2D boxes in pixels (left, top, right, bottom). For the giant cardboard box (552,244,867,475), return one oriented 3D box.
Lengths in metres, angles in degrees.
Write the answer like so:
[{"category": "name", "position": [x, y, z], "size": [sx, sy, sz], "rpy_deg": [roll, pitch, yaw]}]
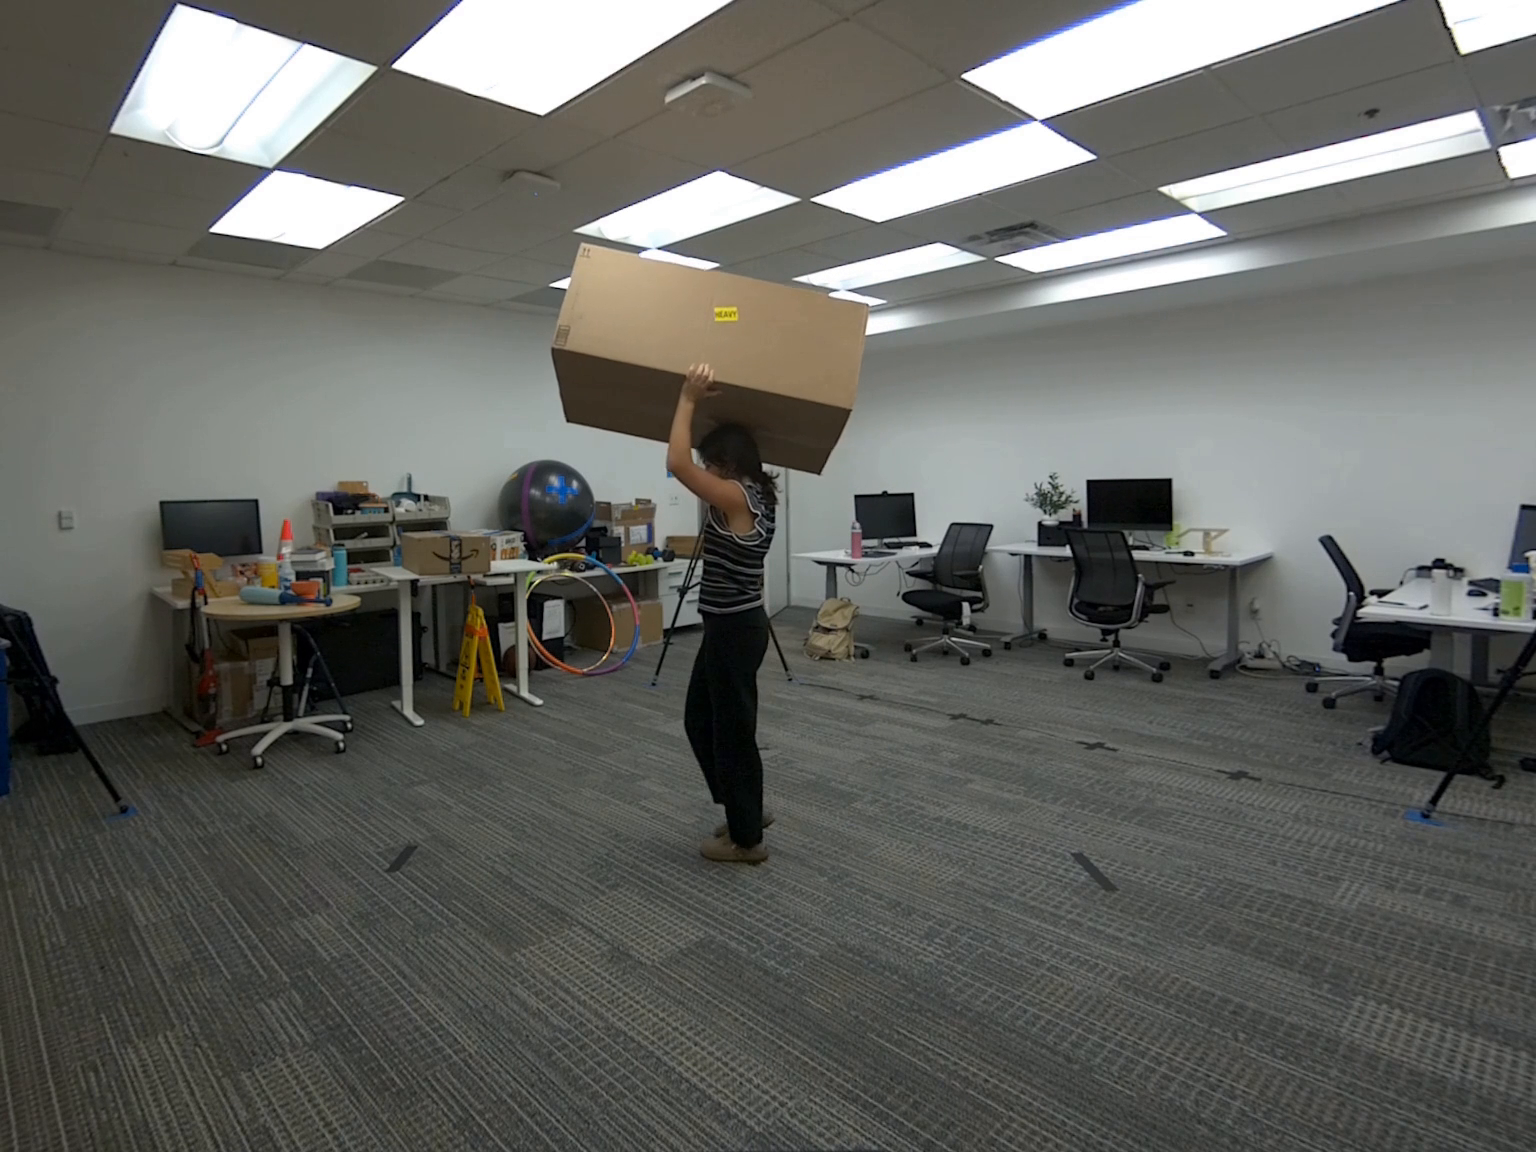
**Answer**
[{"category": "giant cardboard box", "position": [-0.219, -0.772, 3.147], "size": [1.026, 0.431, 0.571], "rpy_deg": [12, -17, -1]}]
